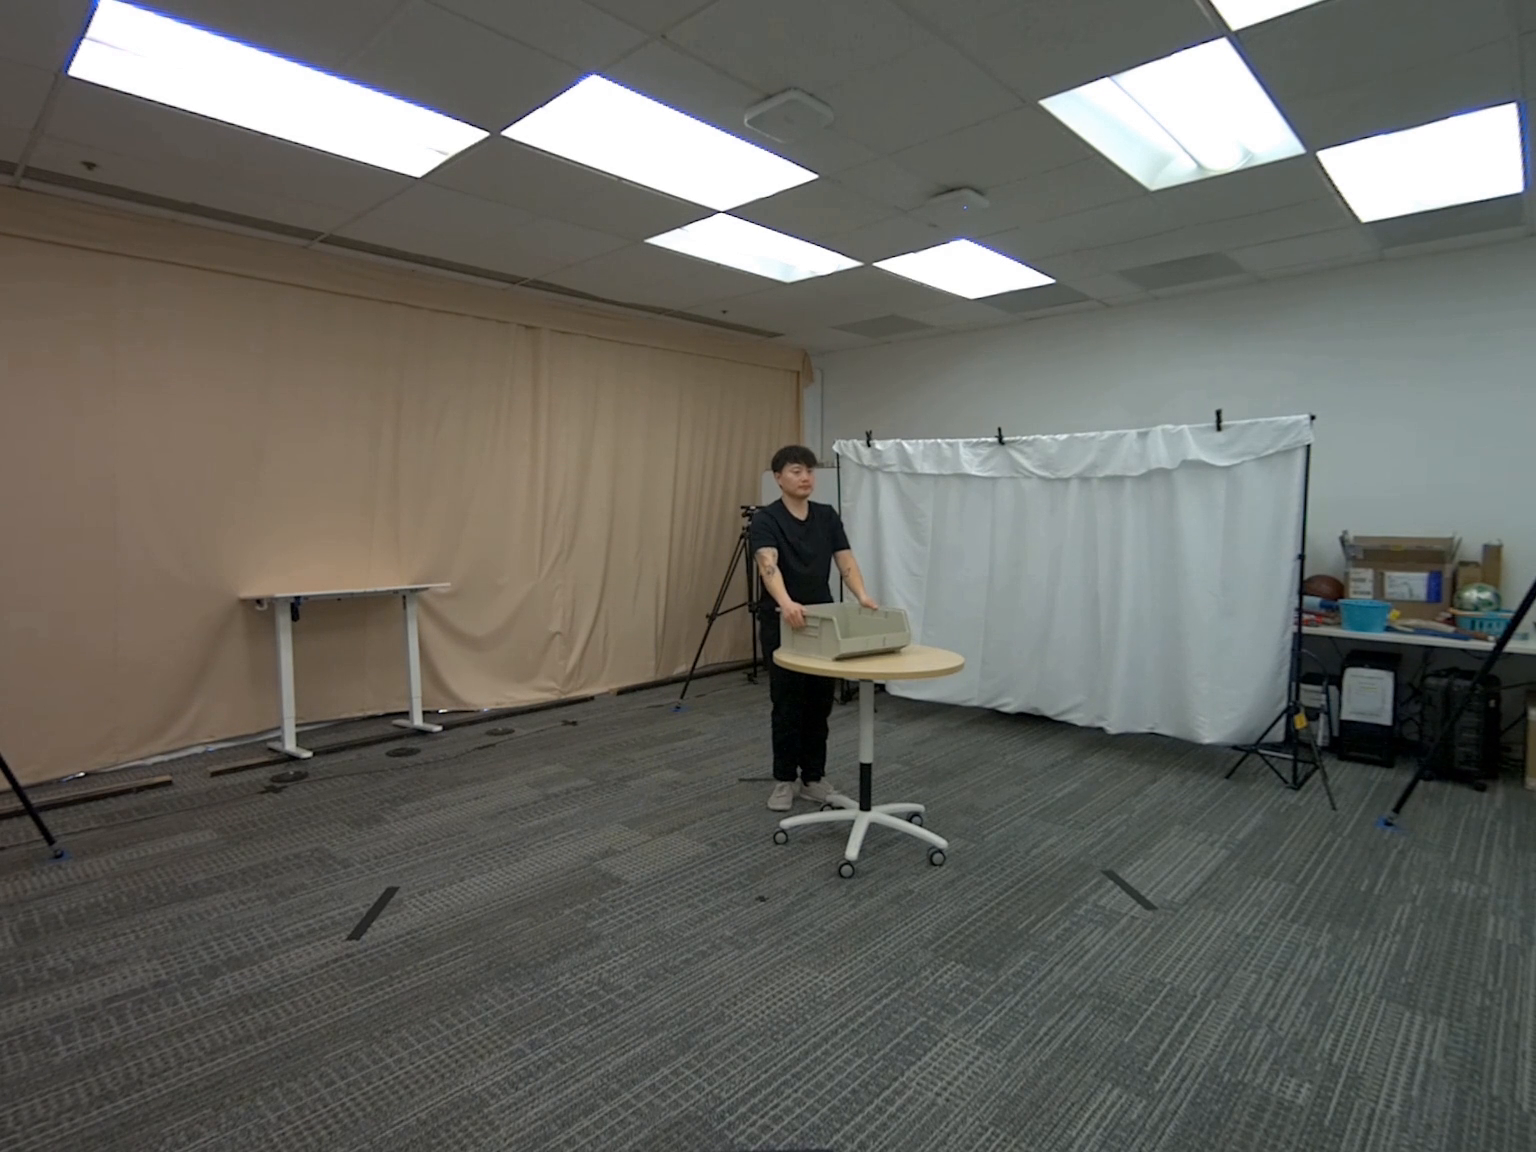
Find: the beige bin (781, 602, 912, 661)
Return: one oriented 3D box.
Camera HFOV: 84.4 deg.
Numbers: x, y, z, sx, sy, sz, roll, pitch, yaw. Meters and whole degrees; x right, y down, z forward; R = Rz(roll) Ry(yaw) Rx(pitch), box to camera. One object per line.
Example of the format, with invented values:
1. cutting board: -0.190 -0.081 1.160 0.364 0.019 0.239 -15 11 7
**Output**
1. beige bin: 0.320 0.222 3.504 0.410 0.189 0.389 -3 4 -38
